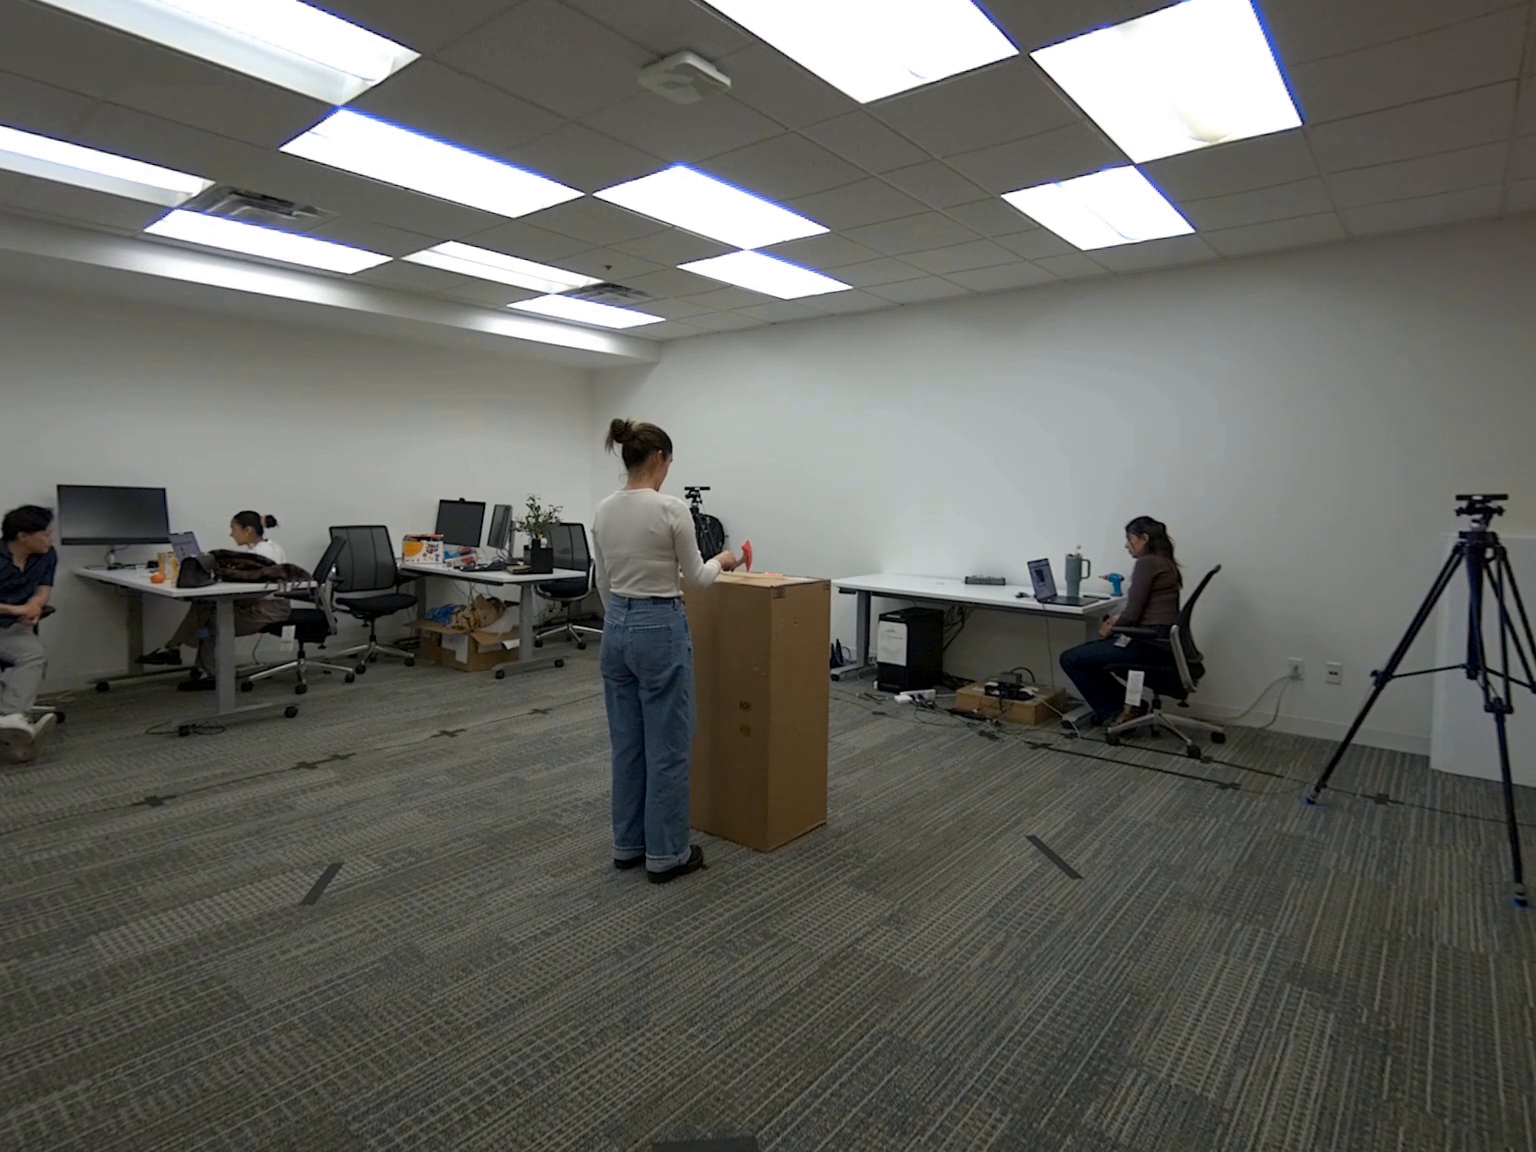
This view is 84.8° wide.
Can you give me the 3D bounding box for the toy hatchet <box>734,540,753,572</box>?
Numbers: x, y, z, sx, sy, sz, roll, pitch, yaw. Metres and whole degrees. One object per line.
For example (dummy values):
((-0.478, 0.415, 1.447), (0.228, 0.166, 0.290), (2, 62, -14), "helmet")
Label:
((-0.124, -0.088, 3.409), (0.030, 0.131, 0.265), (5, -1, 15), "toy hatchet")
